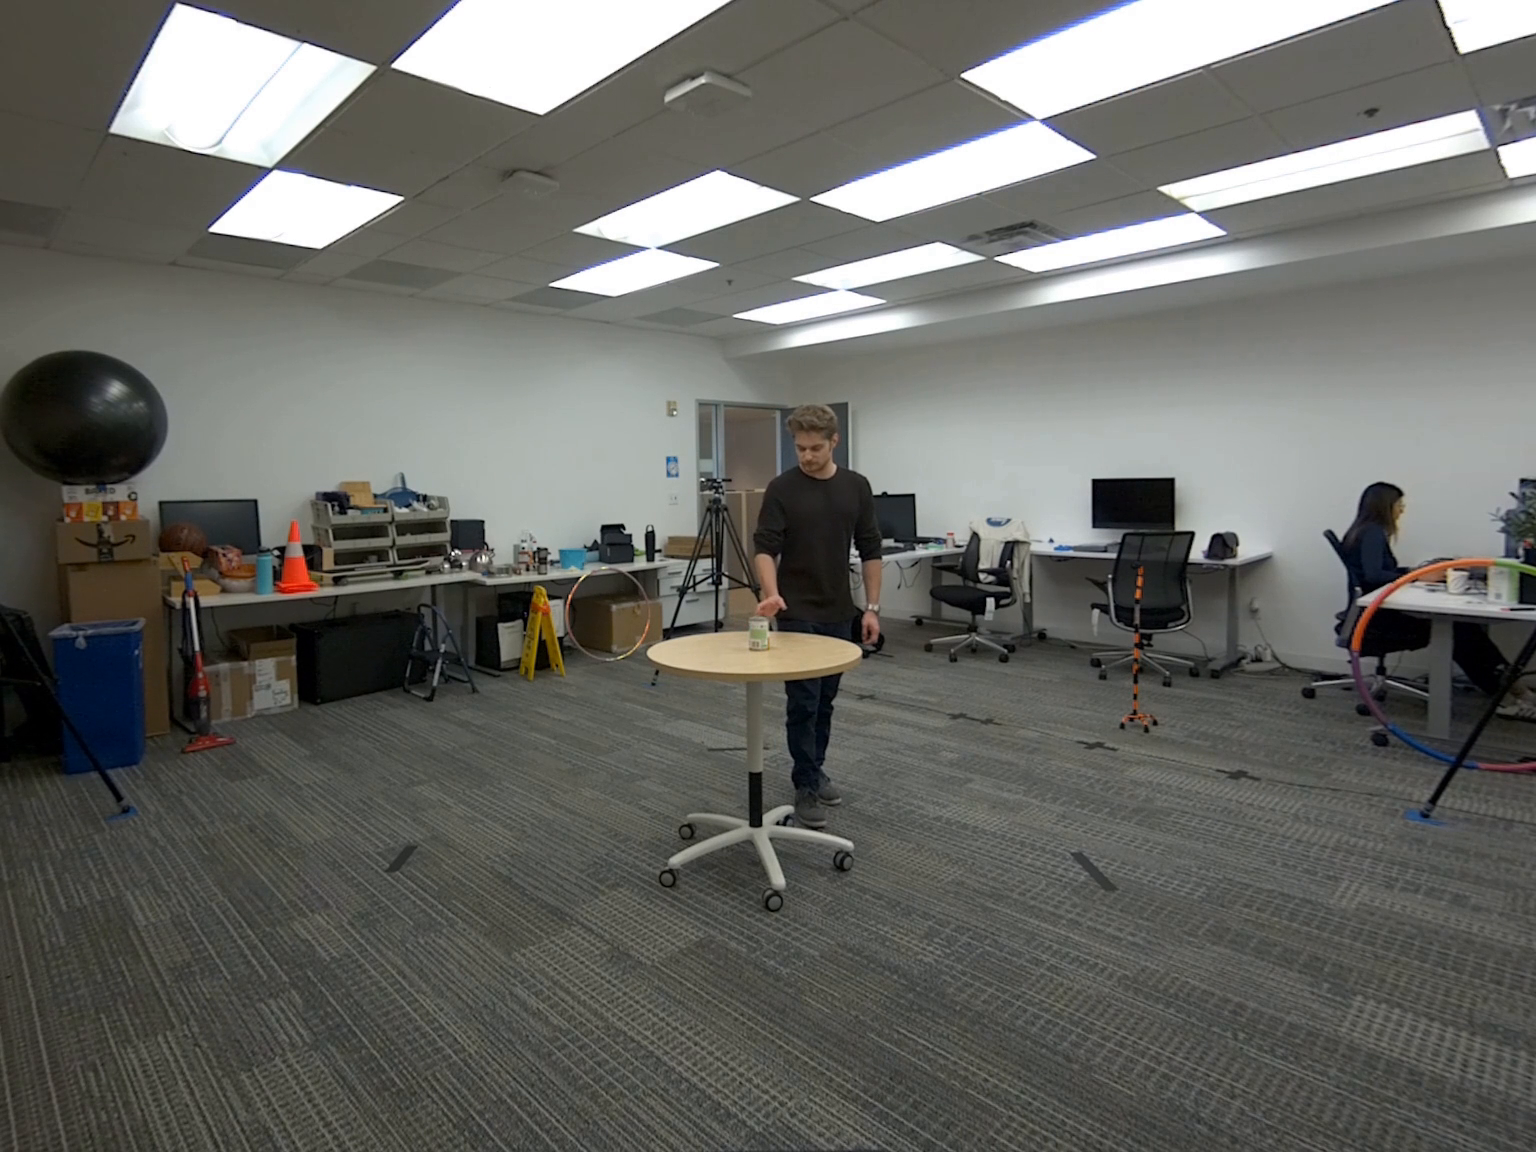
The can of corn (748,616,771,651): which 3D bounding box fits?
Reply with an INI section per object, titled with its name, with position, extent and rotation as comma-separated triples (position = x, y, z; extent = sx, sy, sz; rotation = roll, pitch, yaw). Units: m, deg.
[can of corn]
position = -0.032, 0.209, 3.064
extent = 0.074, 0.110, 0.074
rotation = -1, 5, -2
